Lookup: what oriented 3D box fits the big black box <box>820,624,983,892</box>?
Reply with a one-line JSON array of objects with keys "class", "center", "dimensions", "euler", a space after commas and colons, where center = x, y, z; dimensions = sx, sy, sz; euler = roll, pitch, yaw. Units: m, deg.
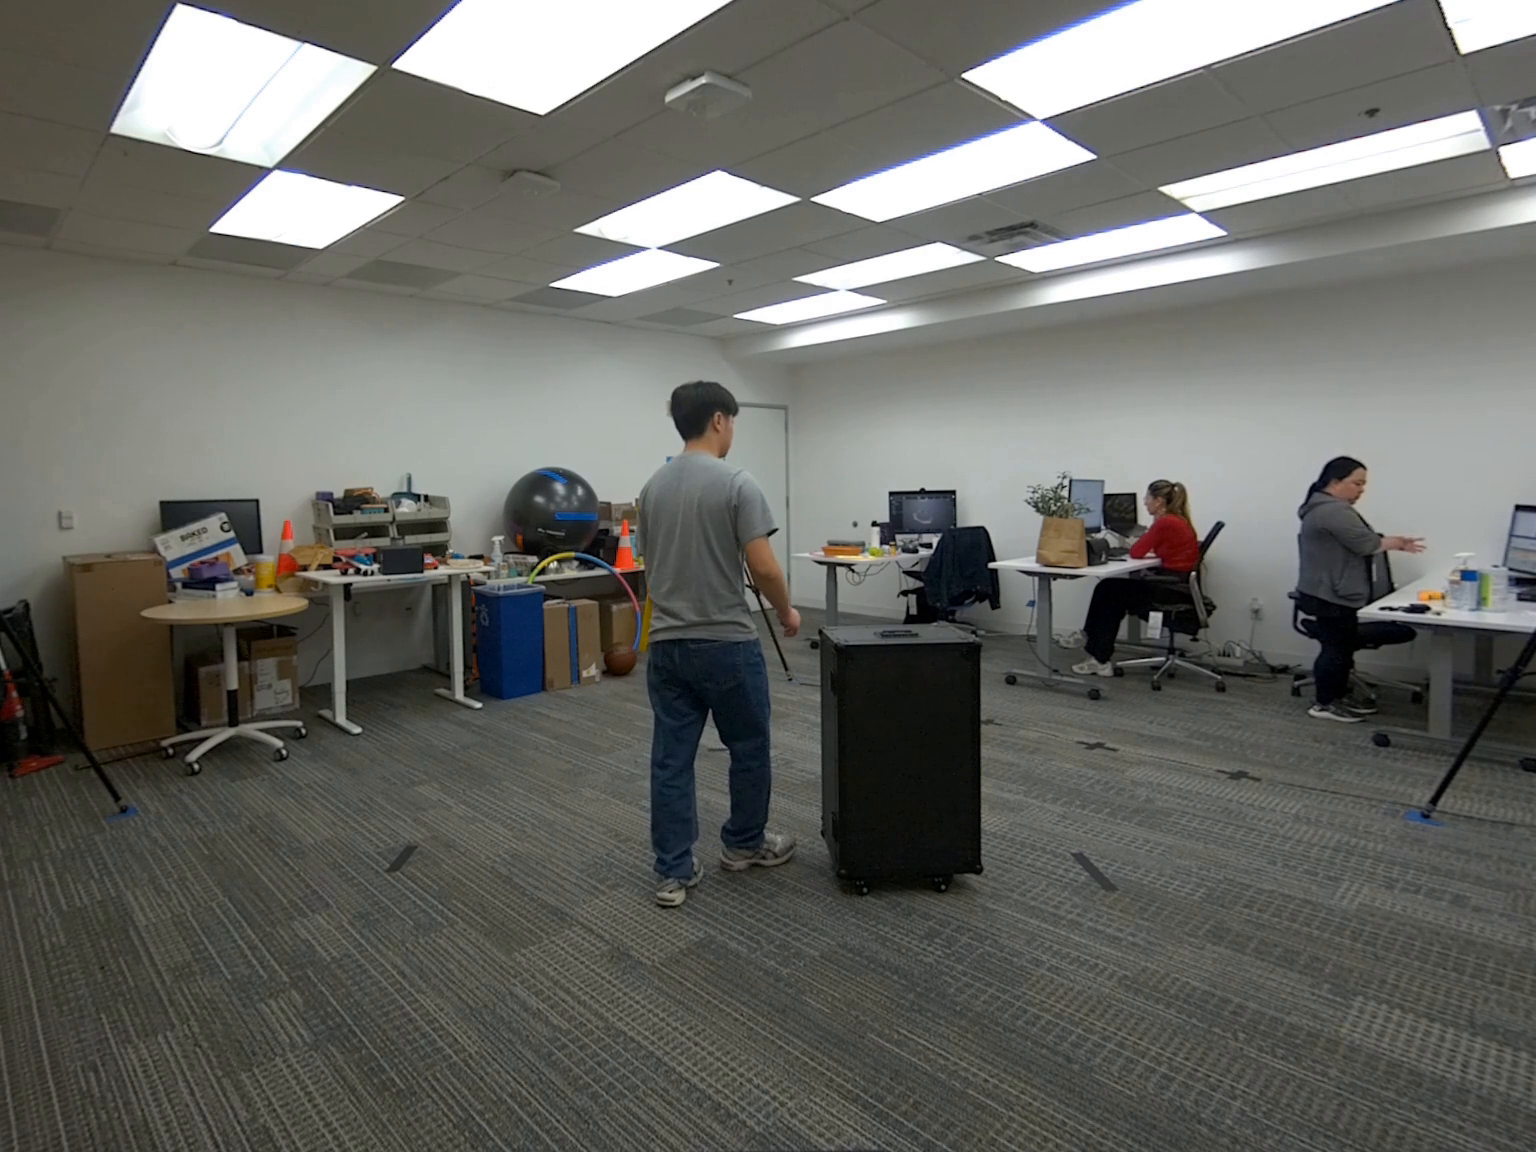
[{"class": "big black box", "center": [0.450, 0.620, 3.000], "dimensions": [0.520, 0.859, 0.398], "euler": [-2, 3, -3]}]
